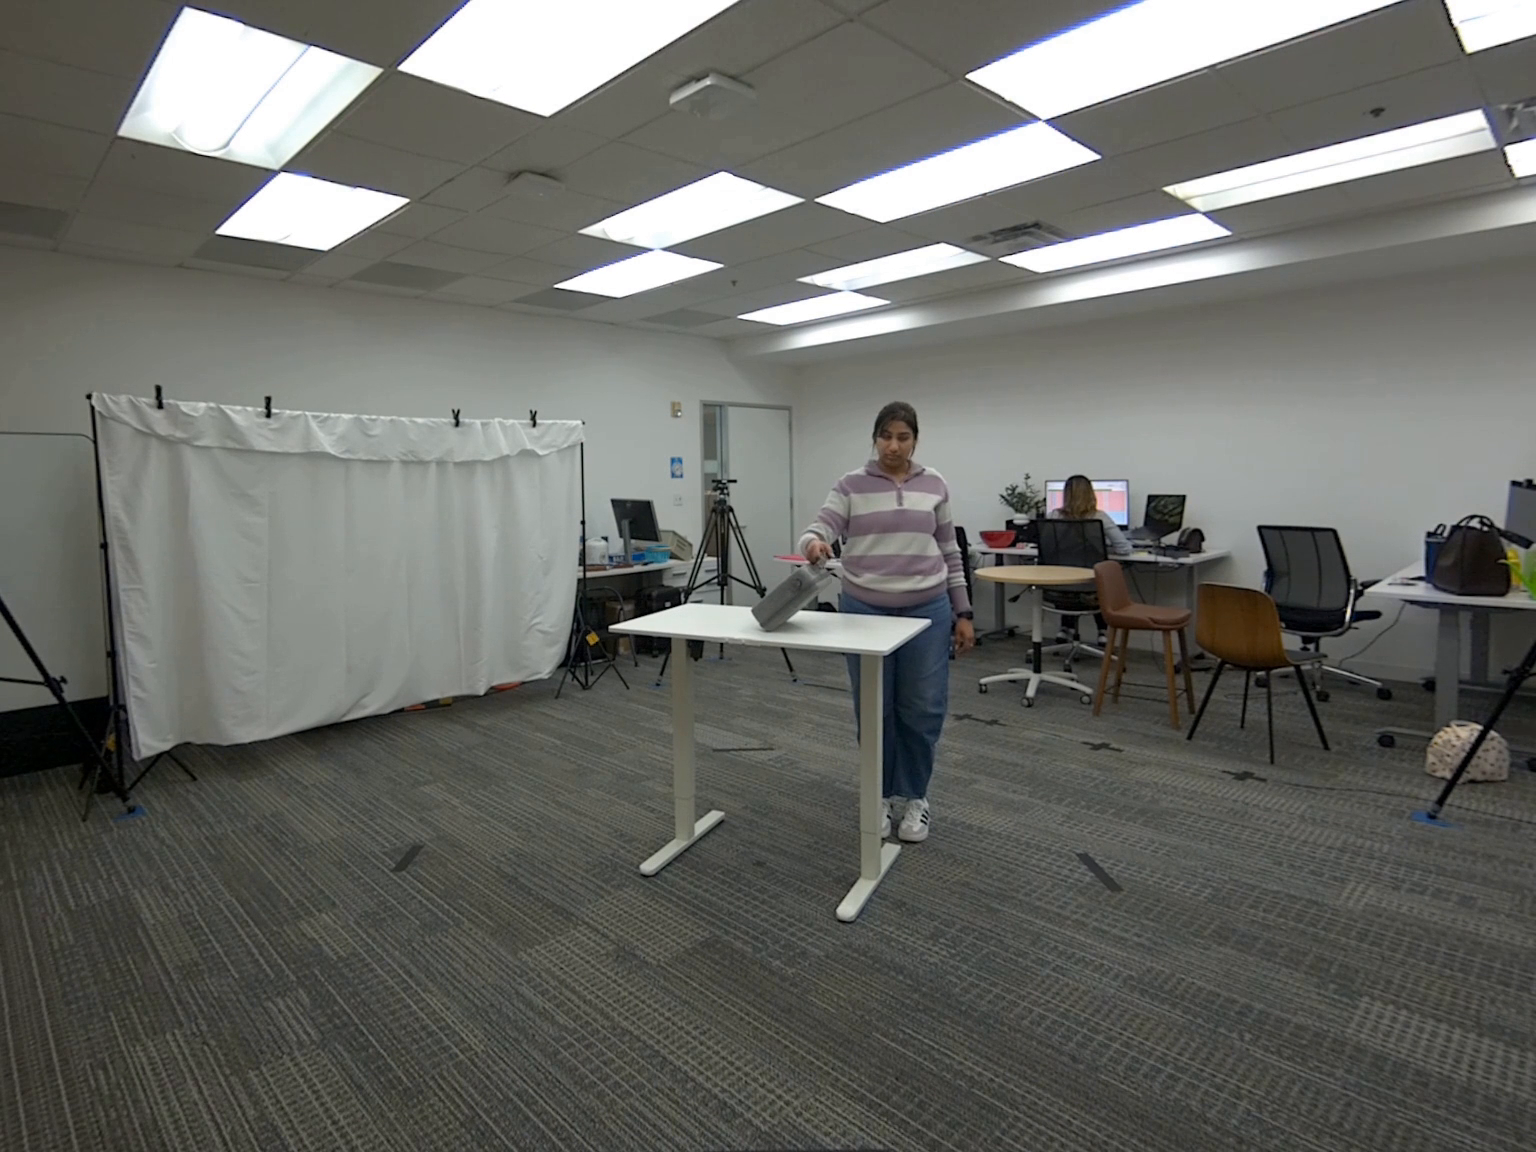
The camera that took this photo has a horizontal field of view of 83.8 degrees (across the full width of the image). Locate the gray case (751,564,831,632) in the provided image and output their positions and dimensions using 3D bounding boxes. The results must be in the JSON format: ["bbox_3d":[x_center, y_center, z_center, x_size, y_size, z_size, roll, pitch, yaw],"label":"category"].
[{"bbox_3d":[0.090,0.066,2.949,0.261,0.106,0.253,-43,-10,17],"label":"gray case"}]
